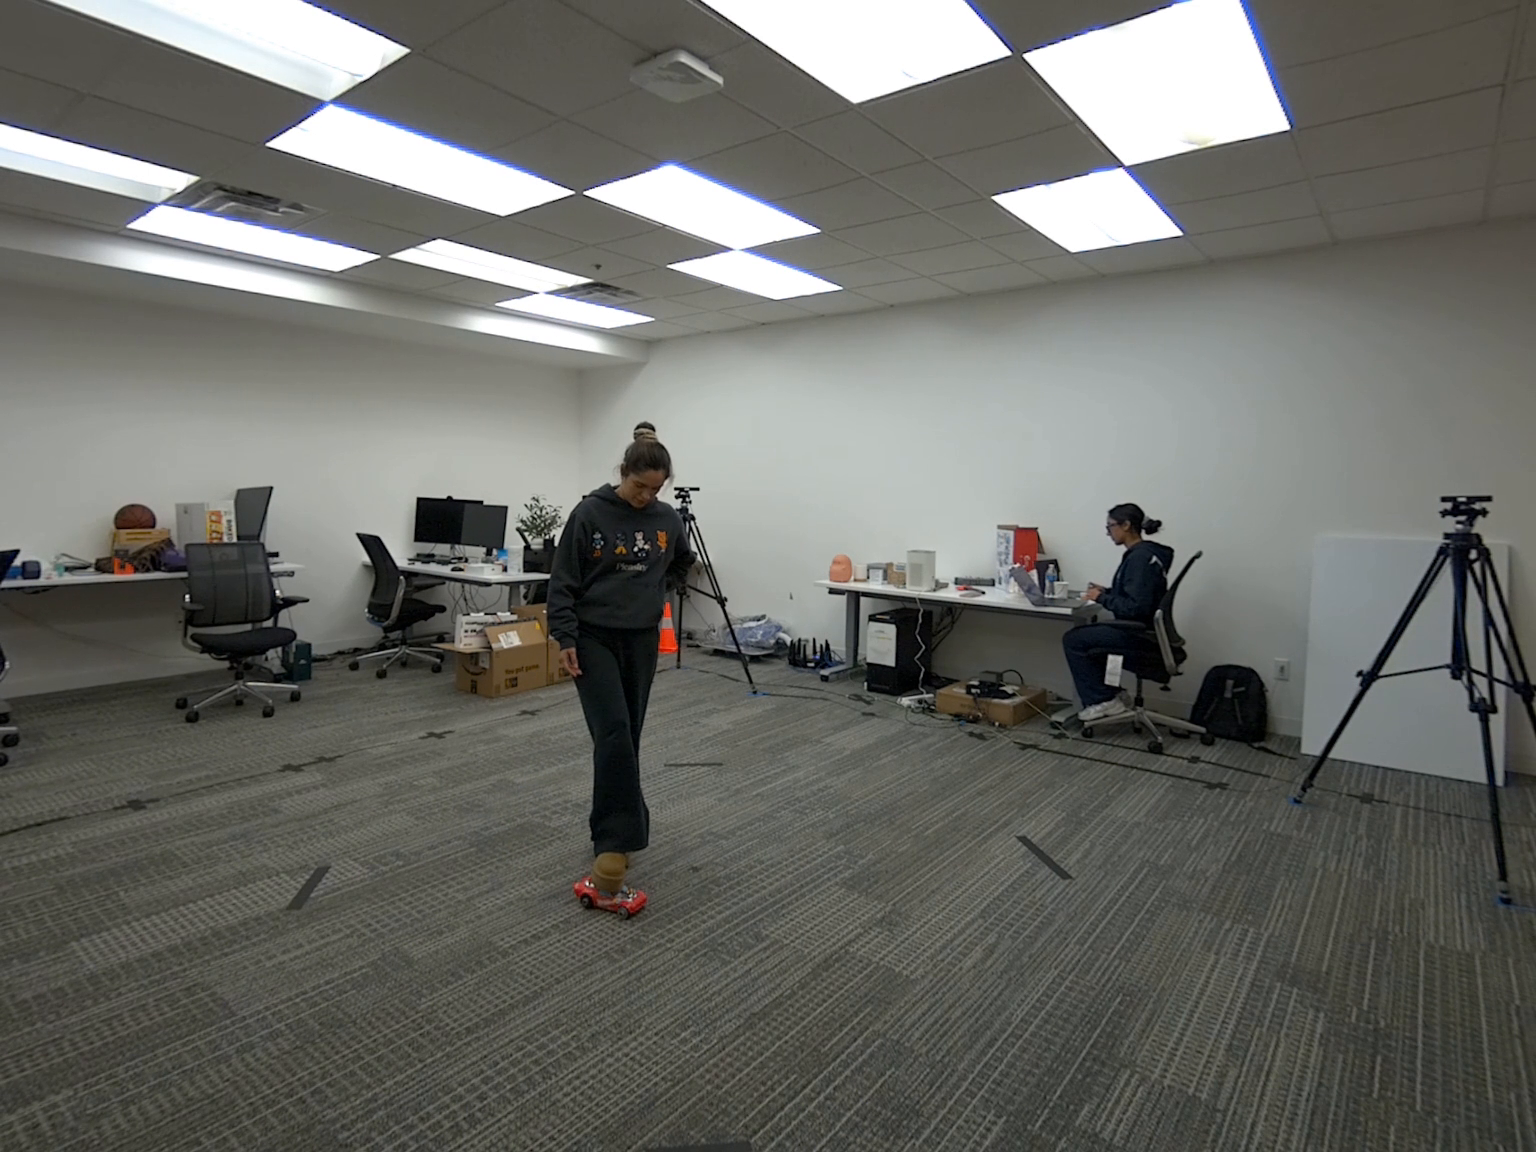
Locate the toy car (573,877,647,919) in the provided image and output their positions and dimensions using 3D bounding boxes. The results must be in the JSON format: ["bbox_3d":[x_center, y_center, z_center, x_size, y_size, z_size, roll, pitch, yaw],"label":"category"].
[{"bbox_3d":[-0.540,1.058,2.821,0.262,0.082,0.127,14,10,25],"label":"toy car"}]
